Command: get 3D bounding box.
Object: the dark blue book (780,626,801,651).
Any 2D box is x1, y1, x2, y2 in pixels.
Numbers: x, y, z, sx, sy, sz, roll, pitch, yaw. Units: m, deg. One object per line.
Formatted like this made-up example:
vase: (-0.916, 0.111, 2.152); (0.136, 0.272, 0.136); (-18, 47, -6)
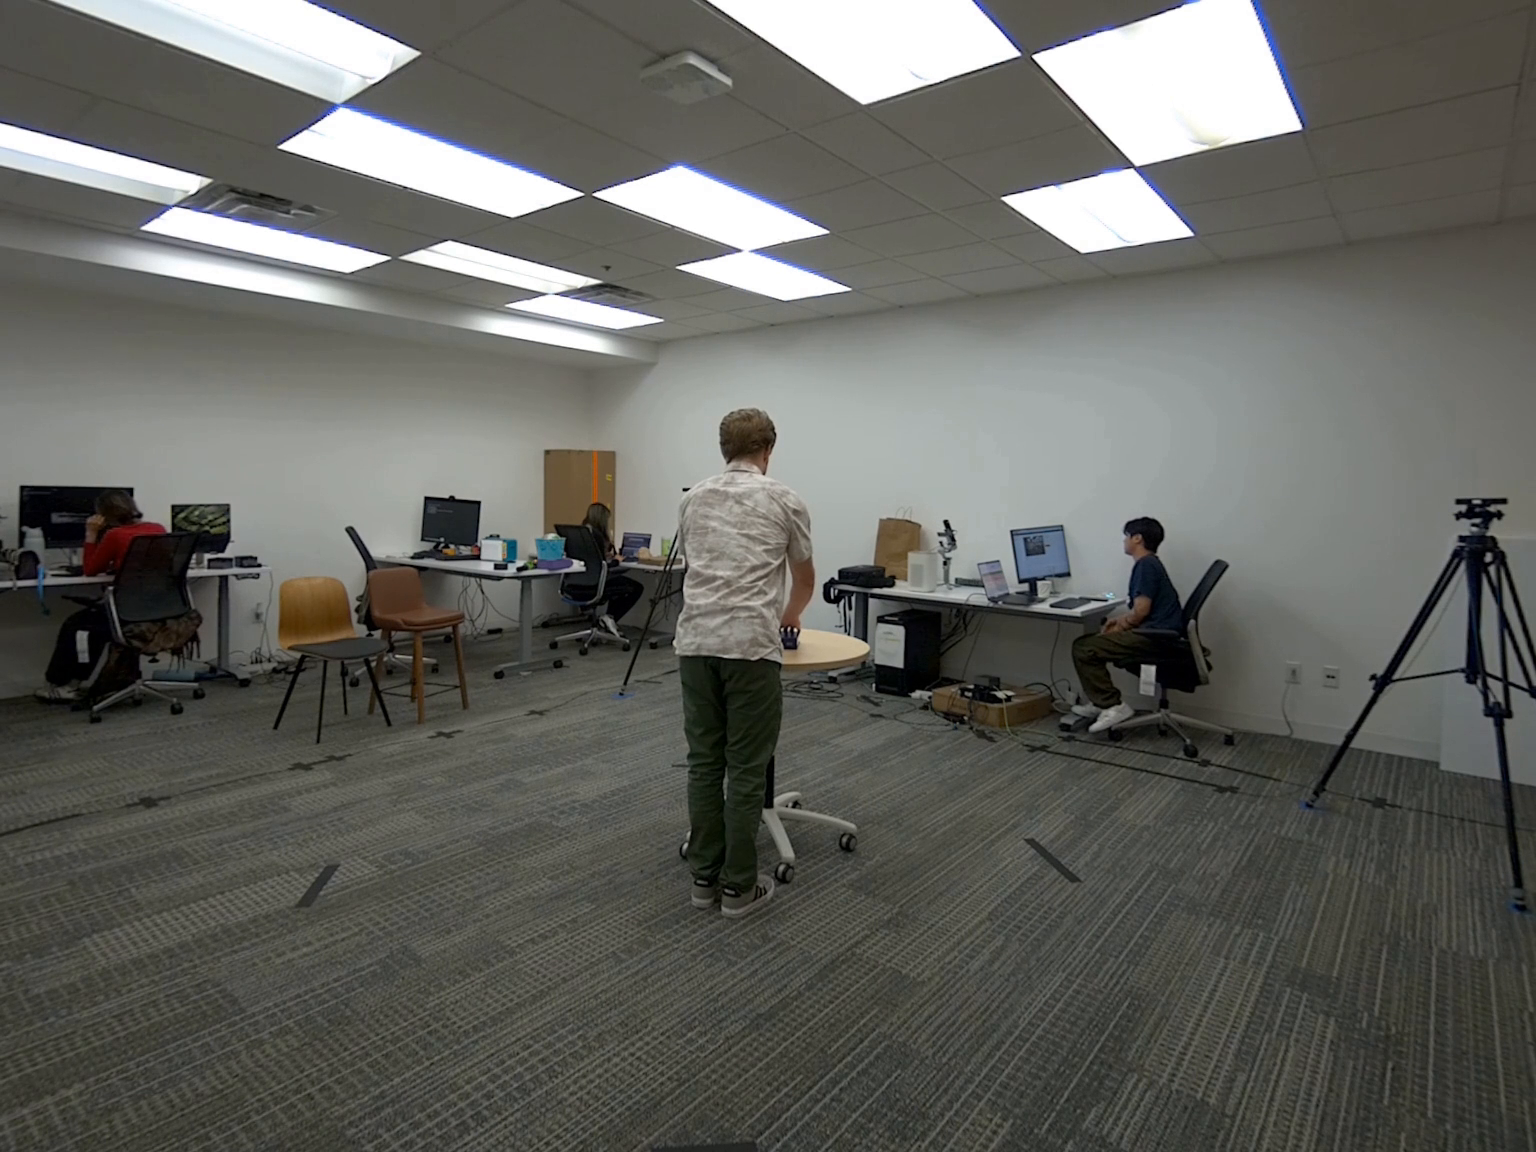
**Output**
dark blue book: (-0.009, 0.242, 3.304); (0.247, 0.045, 0.163); (1, 6, 7)
